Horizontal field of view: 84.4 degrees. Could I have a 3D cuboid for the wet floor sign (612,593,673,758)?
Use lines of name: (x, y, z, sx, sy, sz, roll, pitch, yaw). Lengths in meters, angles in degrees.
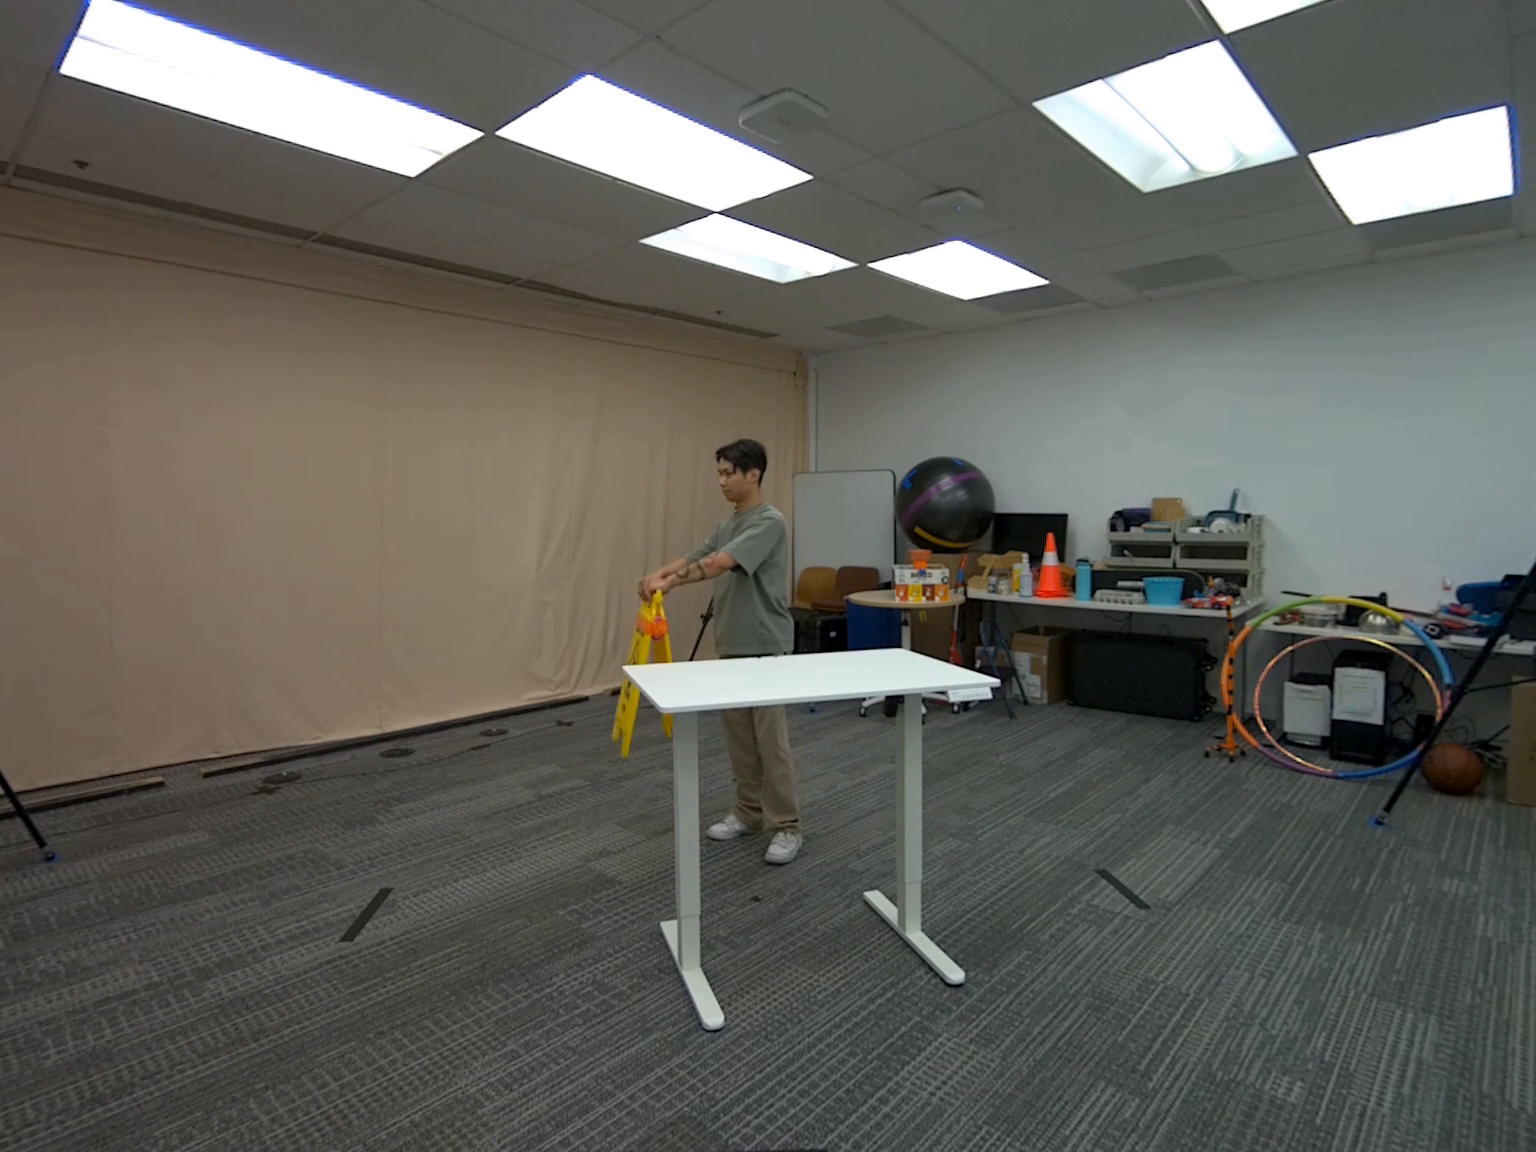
wet floor sign: (-0.467, 0.364, 3.378, 0.284, 0.644, 0.288, 0, 6, -19)
